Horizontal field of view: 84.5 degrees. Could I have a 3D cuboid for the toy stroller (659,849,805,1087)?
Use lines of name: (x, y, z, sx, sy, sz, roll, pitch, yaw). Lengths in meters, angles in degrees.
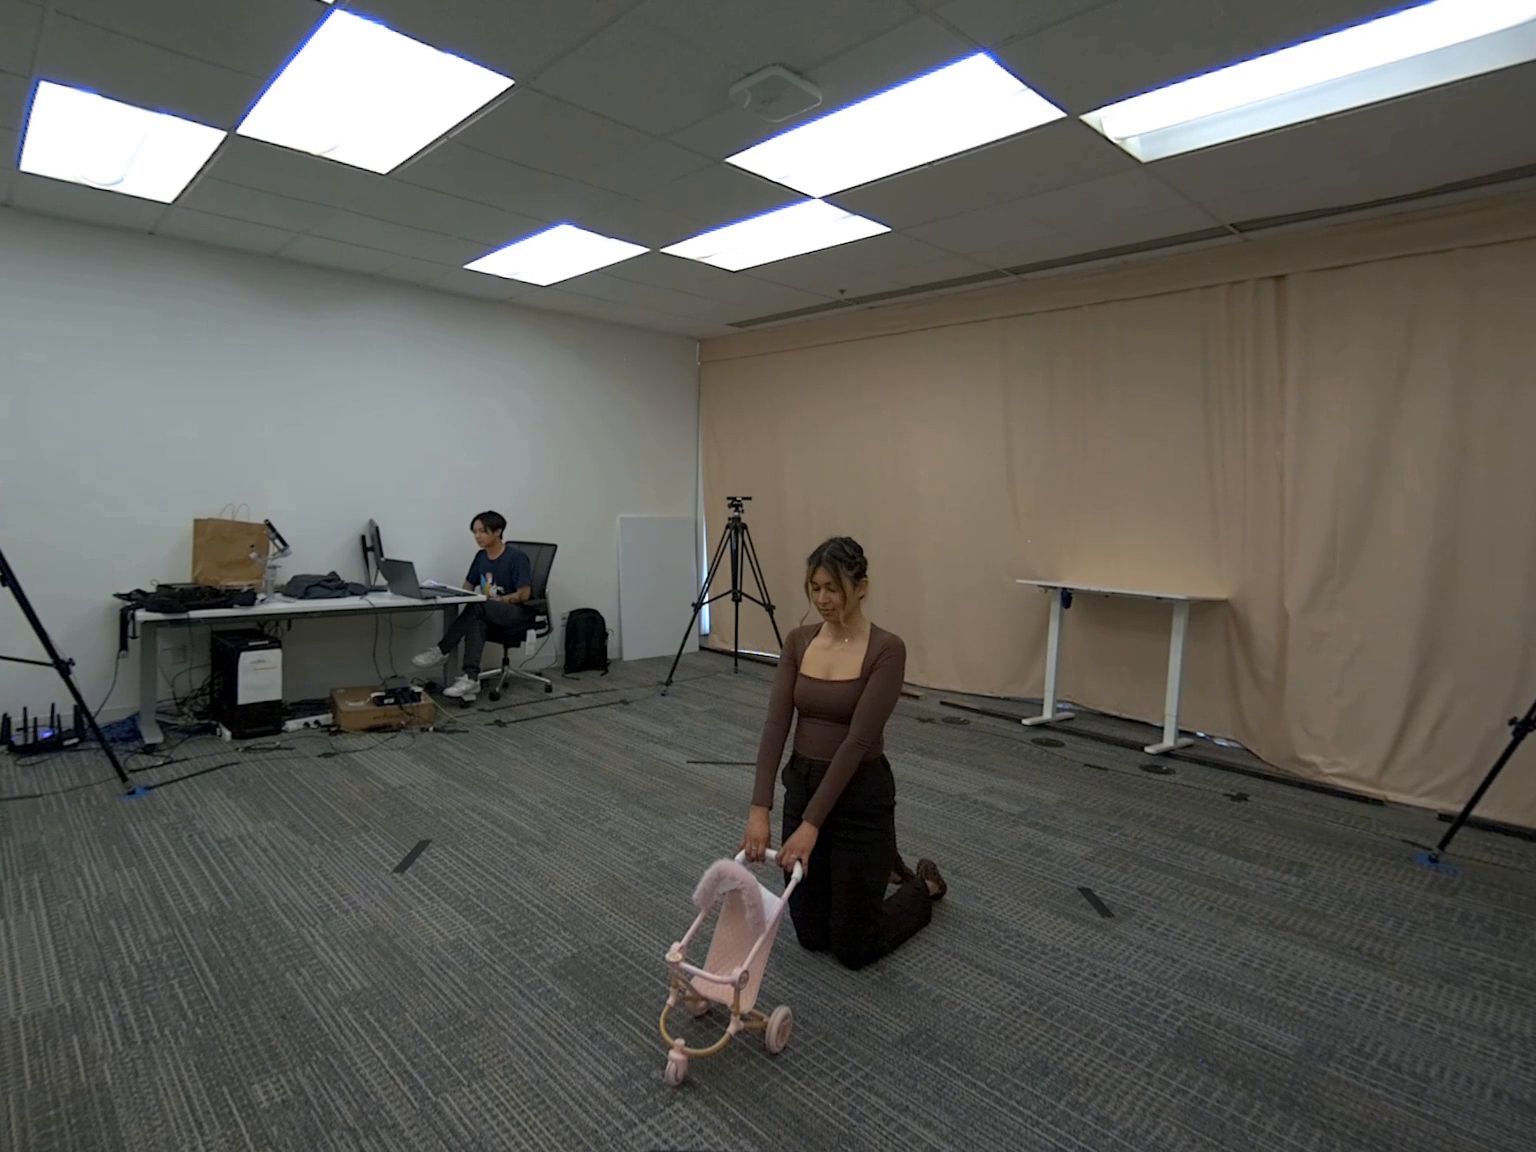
toy stroller: (-0.113, 0.975, 2.134, 0.288, 0.538, 0.331, 3, -13, 39)
